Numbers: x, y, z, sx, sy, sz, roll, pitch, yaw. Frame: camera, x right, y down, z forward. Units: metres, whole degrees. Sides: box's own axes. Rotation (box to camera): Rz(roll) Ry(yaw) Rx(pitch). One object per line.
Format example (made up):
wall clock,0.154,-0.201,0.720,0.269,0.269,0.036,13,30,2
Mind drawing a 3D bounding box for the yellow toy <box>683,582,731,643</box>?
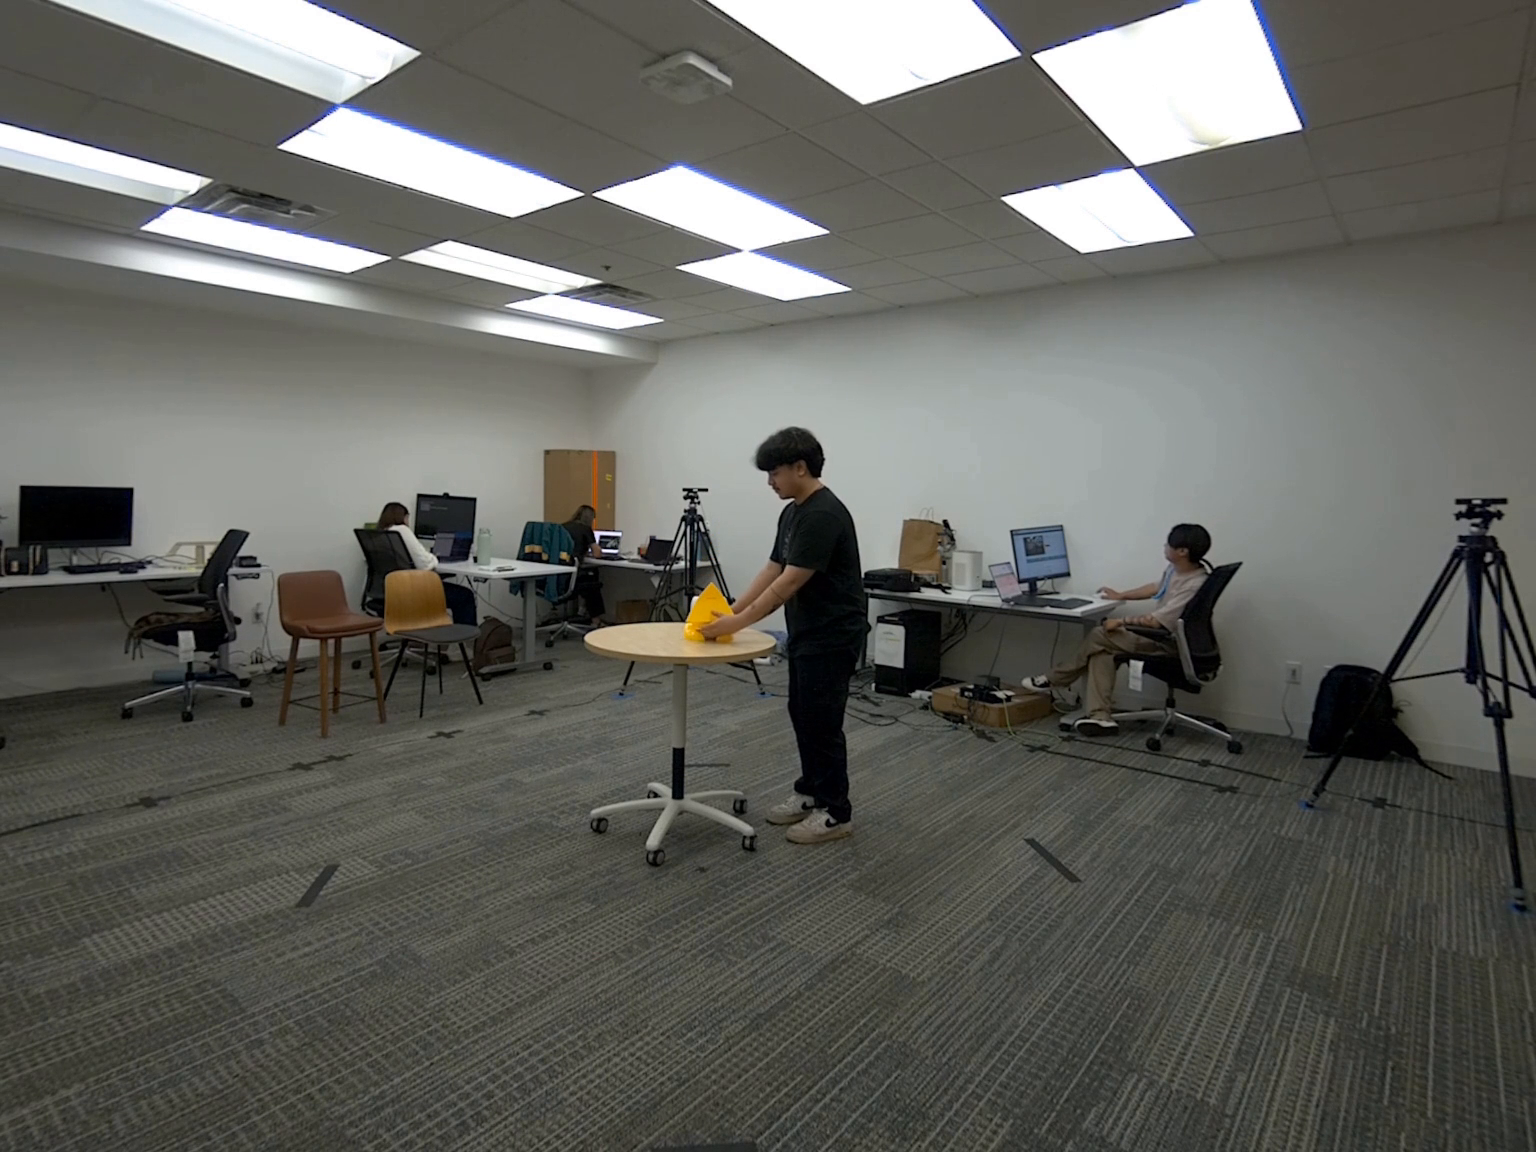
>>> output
yellow toy,-0.252,0.128,3.422,0.202,0.229,0.196,0,6,-11
